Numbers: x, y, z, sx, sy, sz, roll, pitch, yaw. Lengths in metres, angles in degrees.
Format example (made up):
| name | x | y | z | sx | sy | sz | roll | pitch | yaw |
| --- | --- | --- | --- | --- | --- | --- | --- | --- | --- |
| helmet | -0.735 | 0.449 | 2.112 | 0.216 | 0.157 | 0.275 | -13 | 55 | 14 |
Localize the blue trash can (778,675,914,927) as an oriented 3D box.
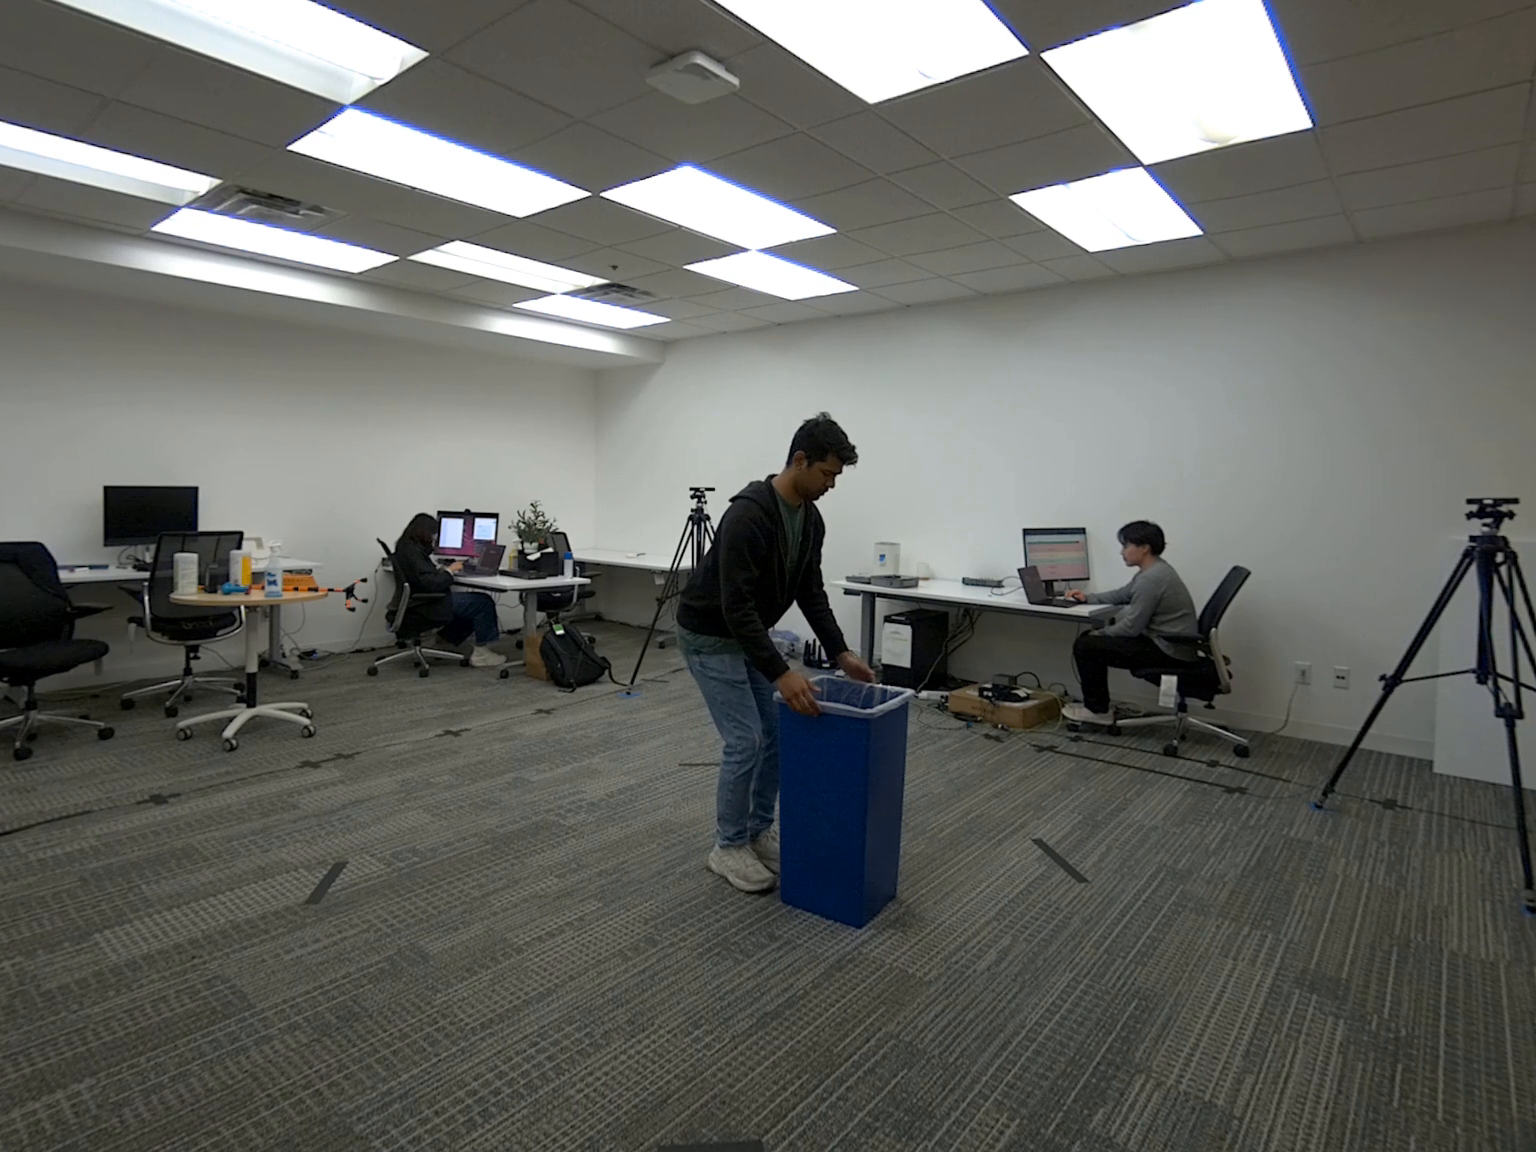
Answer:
| name | x | y | z | sx | sy | sz | roll | pitch | yaw |
| --- | --- | --- | --- | --- | --- | --- | --- | --- | --- |
| blue trash can | 0.241 | 0.743 | 2.875 | 0.390 | 0.711 | 0.364 | 3 | 4 | 32 |
